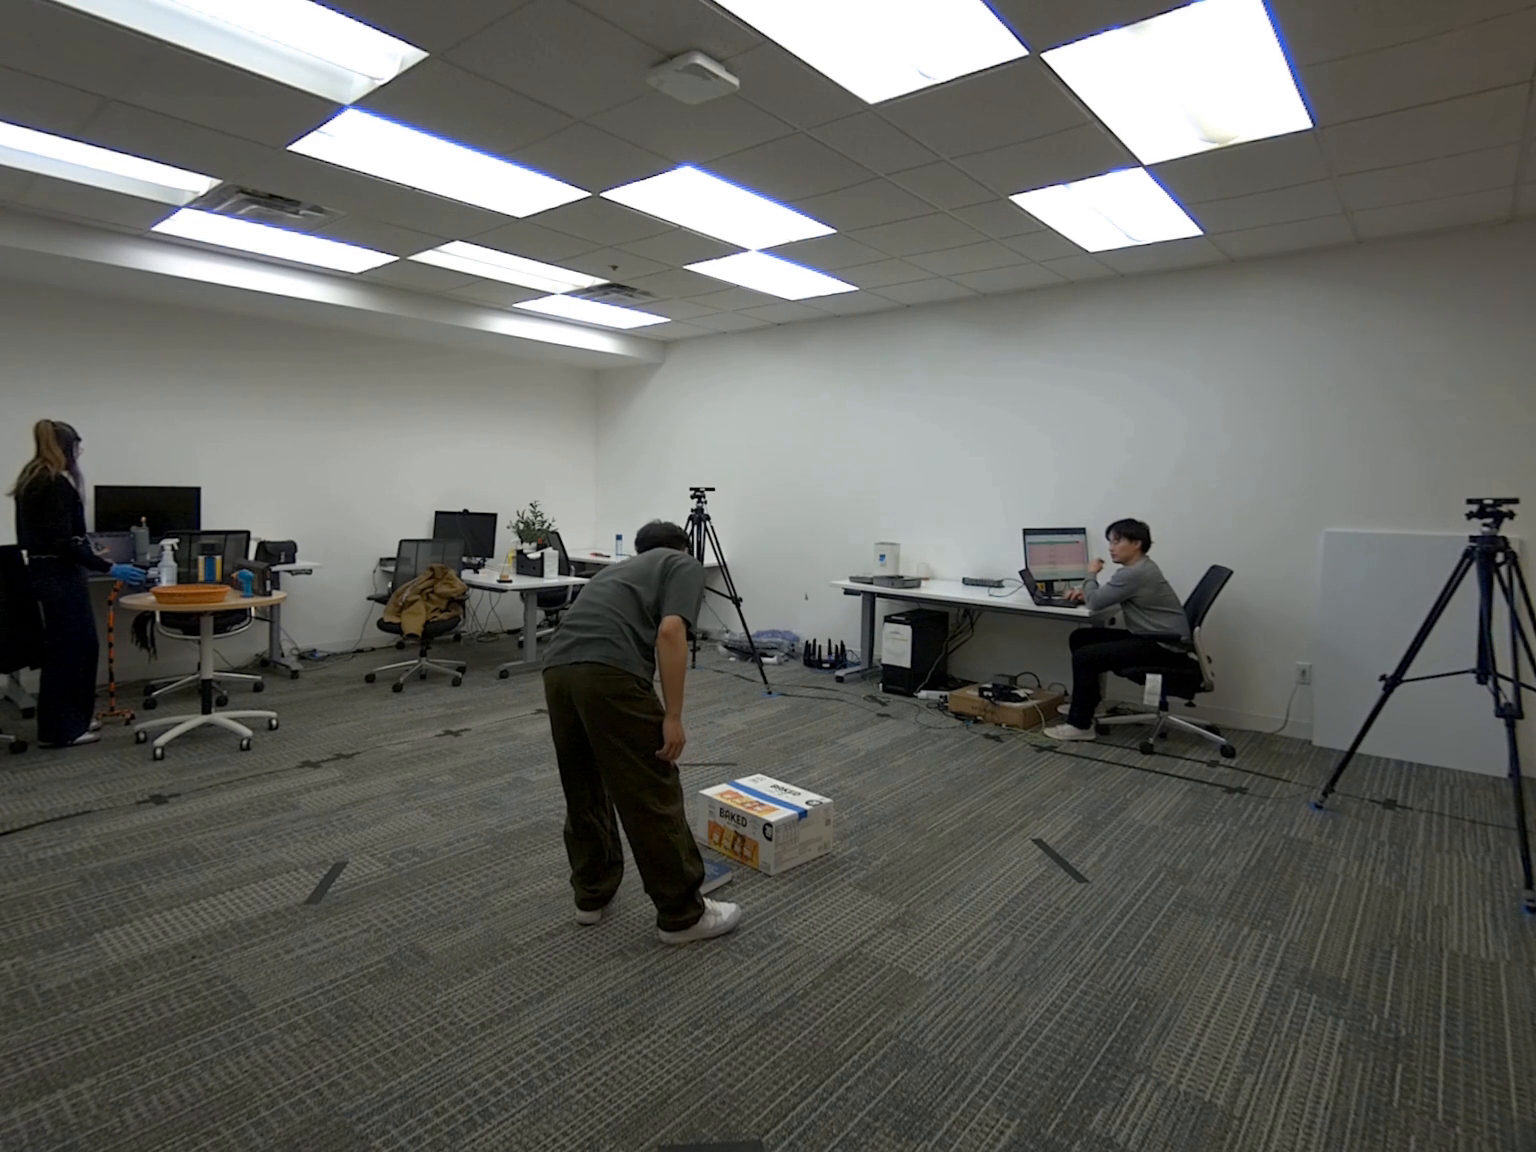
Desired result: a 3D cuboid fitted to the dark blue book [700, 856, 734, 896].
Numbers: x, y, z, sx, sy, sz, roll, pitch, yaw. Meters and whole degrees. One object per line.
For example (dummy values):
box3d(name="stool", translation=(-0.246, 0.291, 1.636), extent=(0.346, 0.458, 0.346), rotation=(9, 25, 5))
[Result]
box3d(name="dark blue book", translation=(-0.273, 1.055, 2.974), extent=(0.169, 0.045, 0.238), rotation=(6, 6, 39))
